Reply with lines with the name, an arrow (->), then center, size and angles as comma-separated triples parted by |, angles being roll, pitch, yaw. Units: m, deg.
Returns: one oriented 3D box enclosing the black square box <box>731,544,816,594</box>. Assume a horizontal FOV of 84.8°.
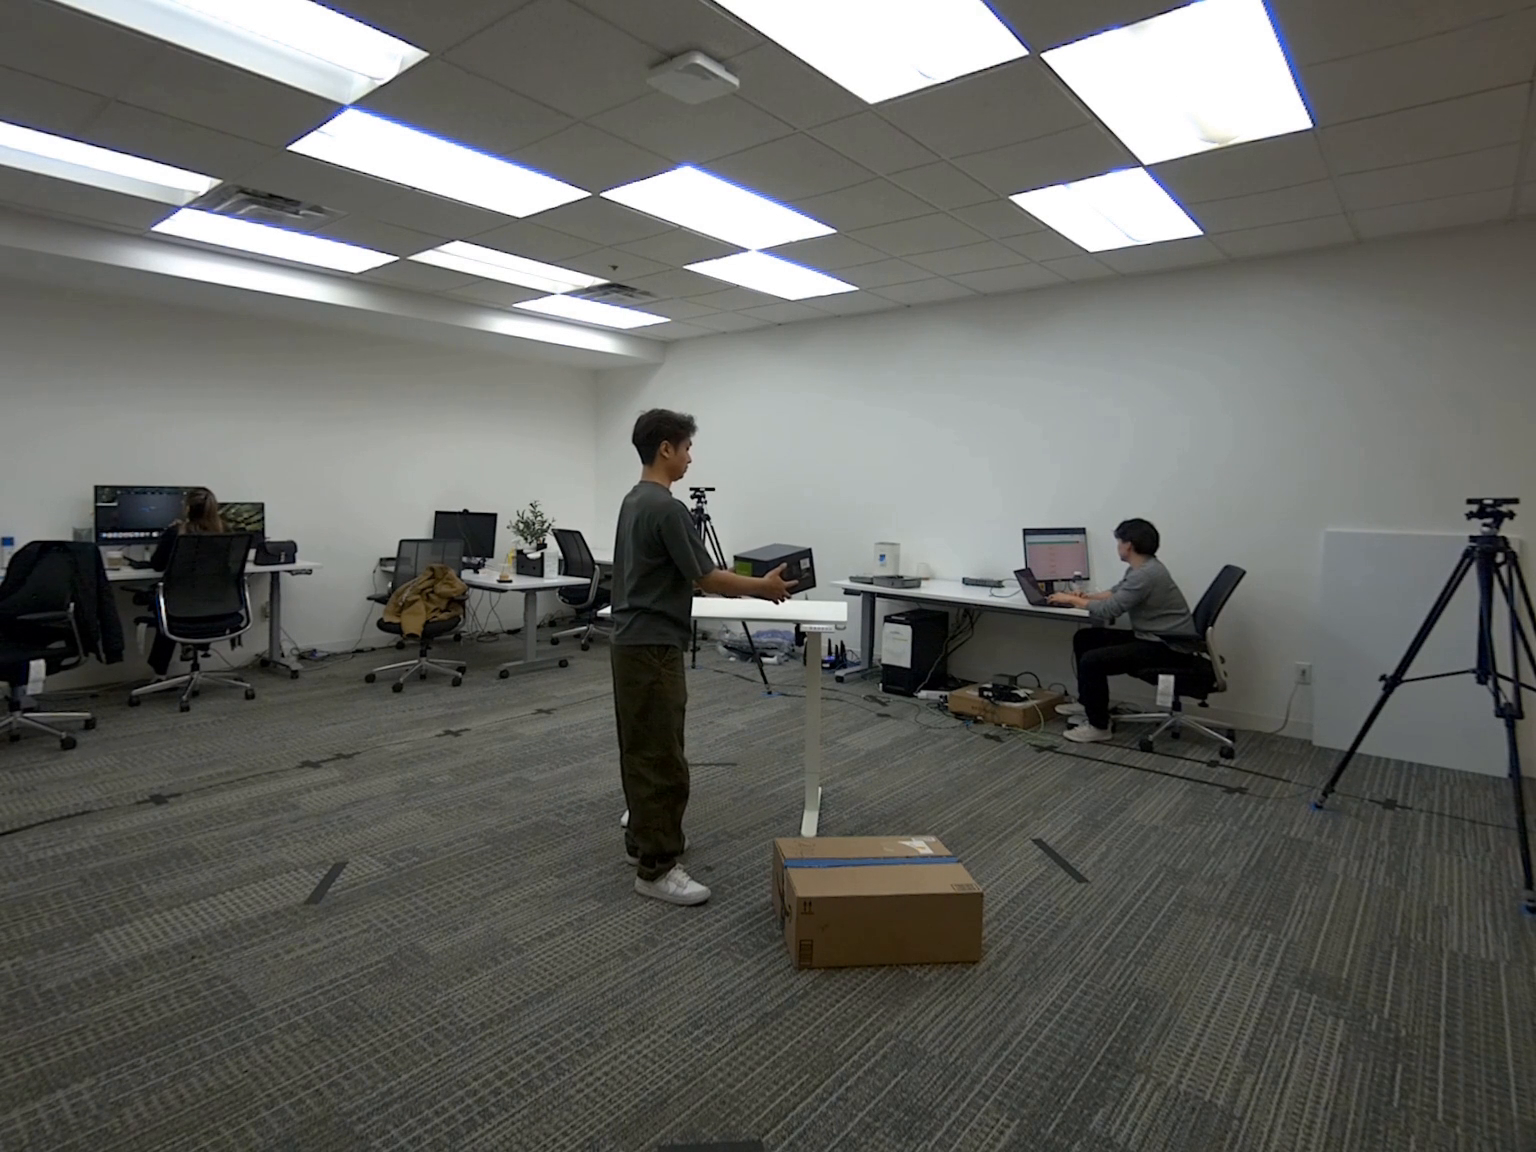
black square box -> 0.015, -0.022, 3.249 | 0.212, 0.154, 0.235 | -15, 14, -31
